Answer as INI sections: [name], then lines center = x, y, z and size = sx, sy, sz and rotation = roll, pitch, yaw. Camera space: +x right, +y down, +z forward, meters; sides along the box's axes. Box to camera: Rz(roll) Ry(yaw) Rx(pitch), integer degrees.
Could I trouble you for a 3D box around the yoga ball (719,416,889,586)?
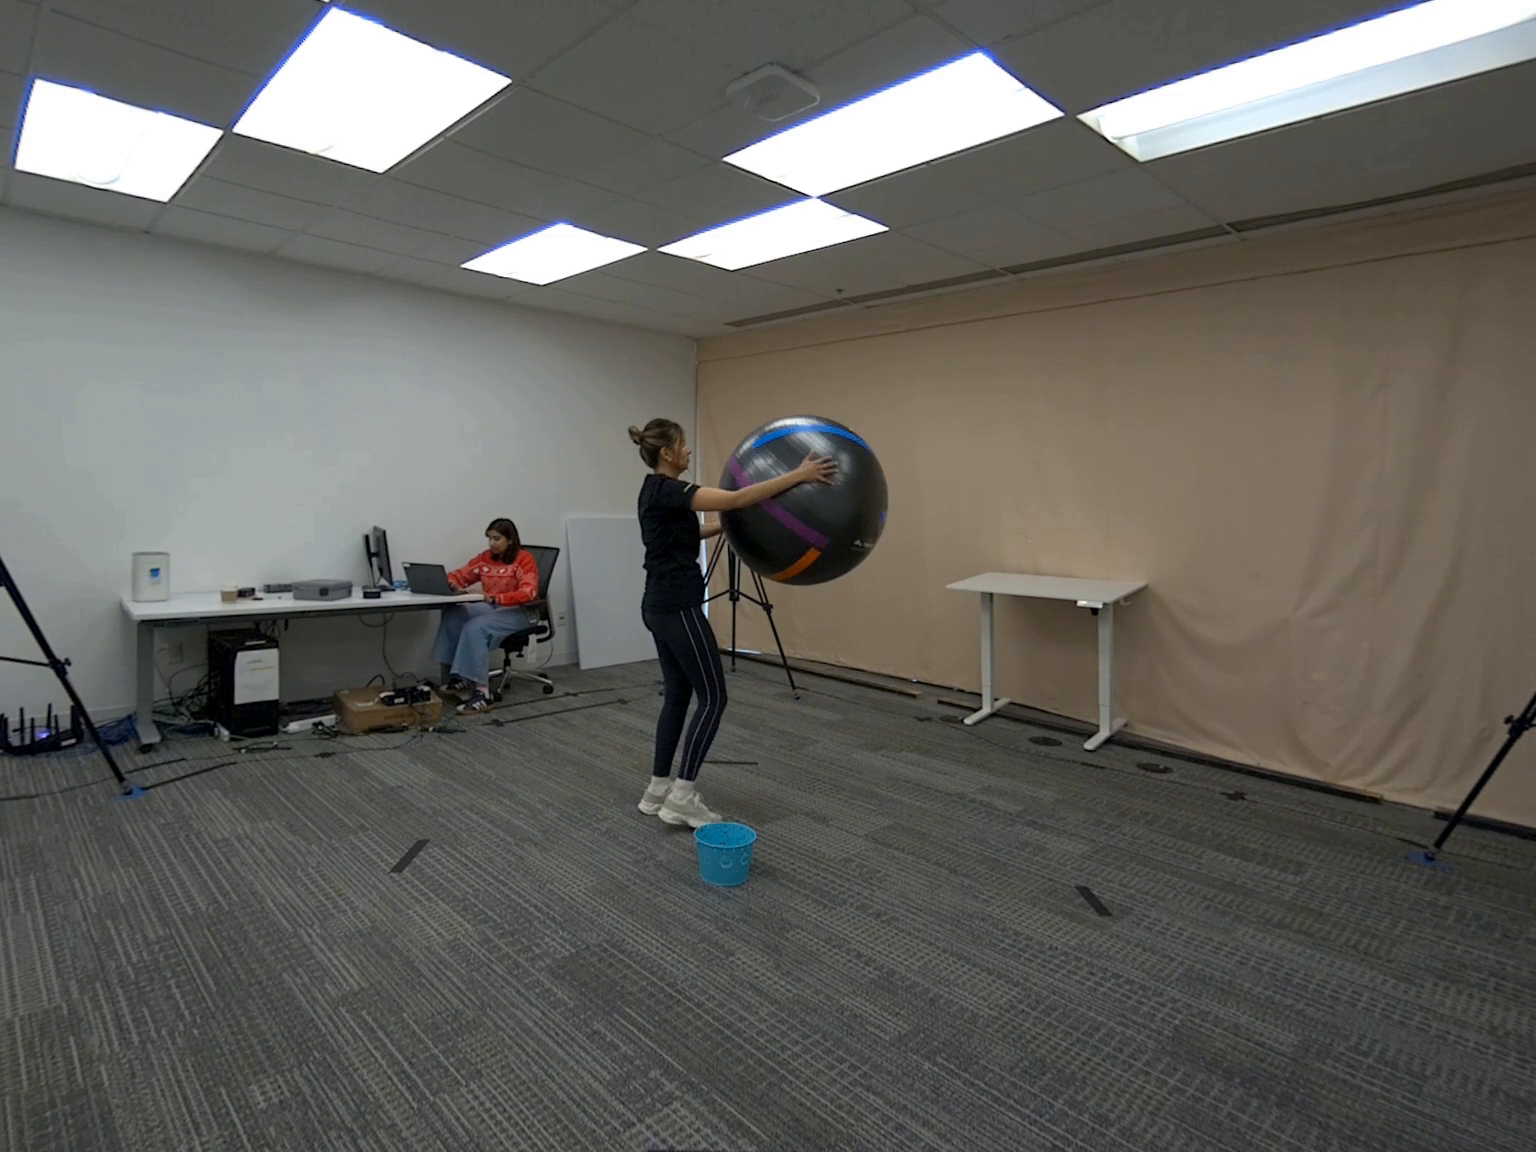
[yoga ball]
center = 0.151, -0.331, 3.758
size = 0.757, 0.756, 0.761
rotation = 1, 4, -1
